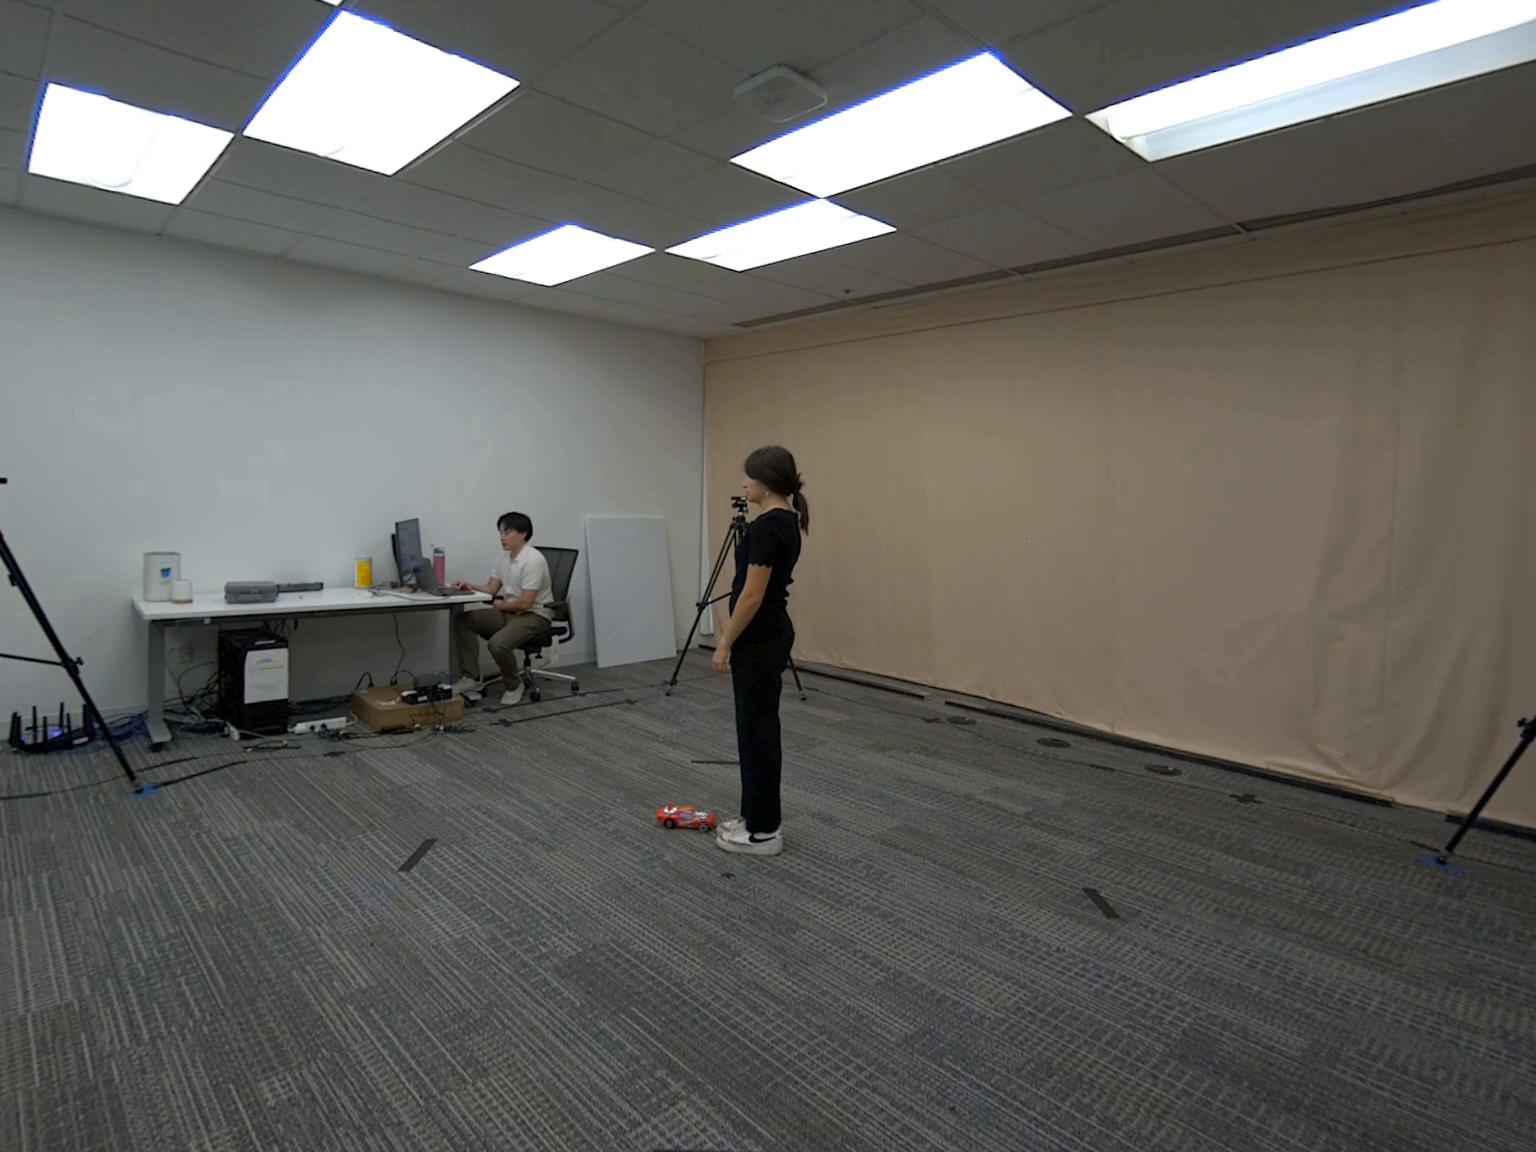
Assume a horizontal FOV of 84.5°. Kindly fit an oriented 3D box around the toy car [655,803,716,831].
[{"bbox_3d":[-0.364,1.019,3.571,0.257,0.083,0.129,15,7,9],"label":"toy car"}]
